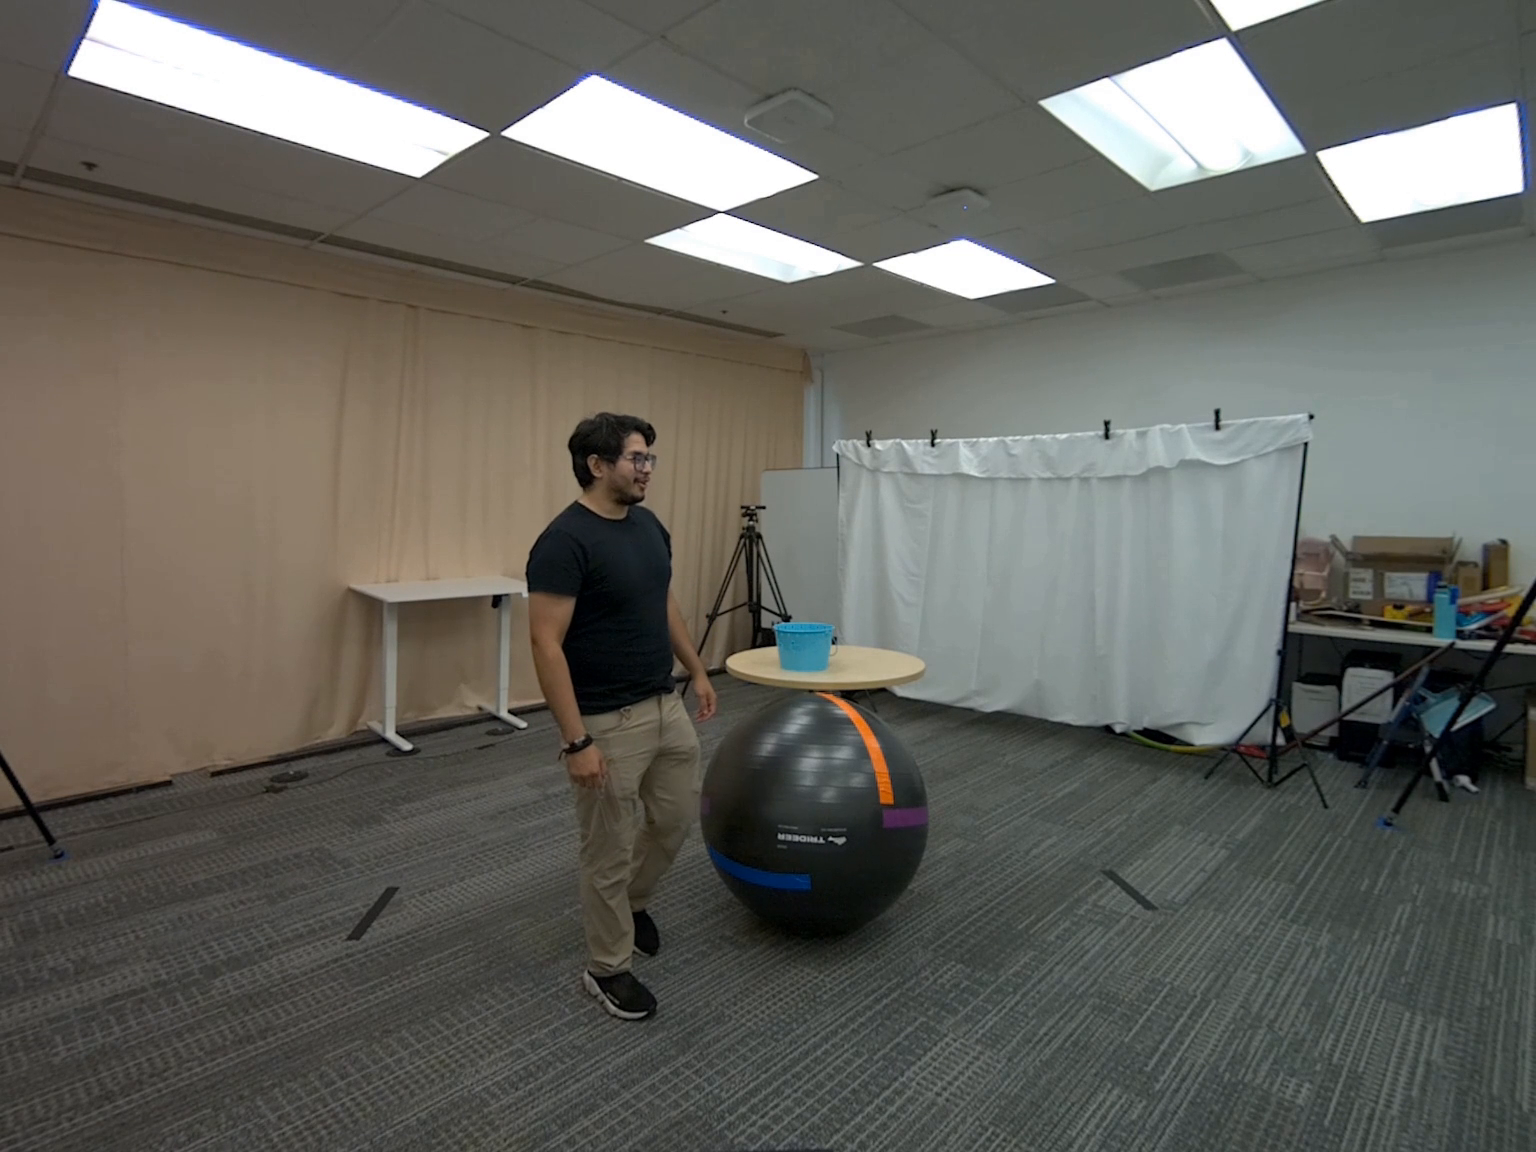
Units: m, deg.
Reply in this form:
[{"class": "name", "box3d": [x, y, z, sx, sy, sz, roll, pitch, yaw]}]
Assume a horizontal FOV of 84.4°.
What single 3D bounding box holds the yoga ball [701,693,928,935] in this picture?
[{"class": "yoga ball", "box3d": [0.157, 0.792, 2.830, 0.757, 0.756, 0.760, 0, 4, -2]}]
